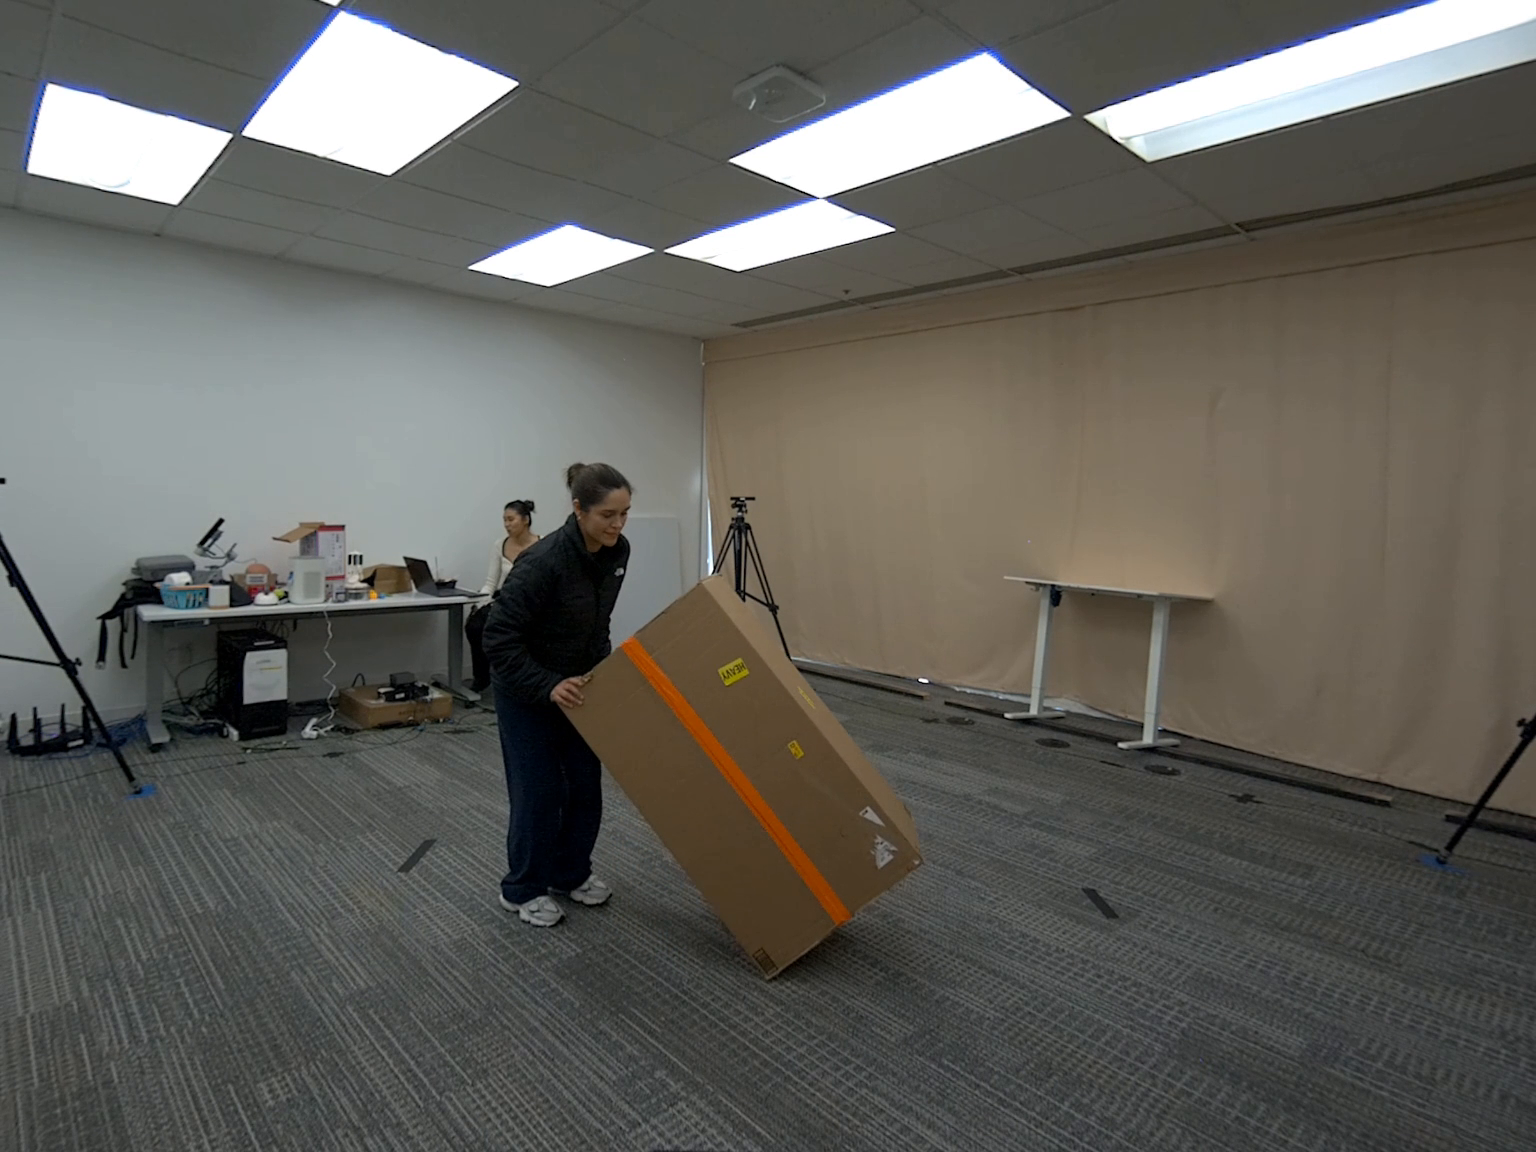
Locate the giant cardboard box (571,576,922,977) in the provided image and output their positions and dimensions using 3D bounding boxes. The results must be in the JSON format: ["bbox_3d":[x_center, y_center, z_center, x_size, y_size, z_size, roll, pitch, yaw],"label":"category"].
[{"bbox_3d":[-0.085,0.582,2.618,0.584,1.031,0.444,-39,-3,8],"label":"giant cardboard box"}]
